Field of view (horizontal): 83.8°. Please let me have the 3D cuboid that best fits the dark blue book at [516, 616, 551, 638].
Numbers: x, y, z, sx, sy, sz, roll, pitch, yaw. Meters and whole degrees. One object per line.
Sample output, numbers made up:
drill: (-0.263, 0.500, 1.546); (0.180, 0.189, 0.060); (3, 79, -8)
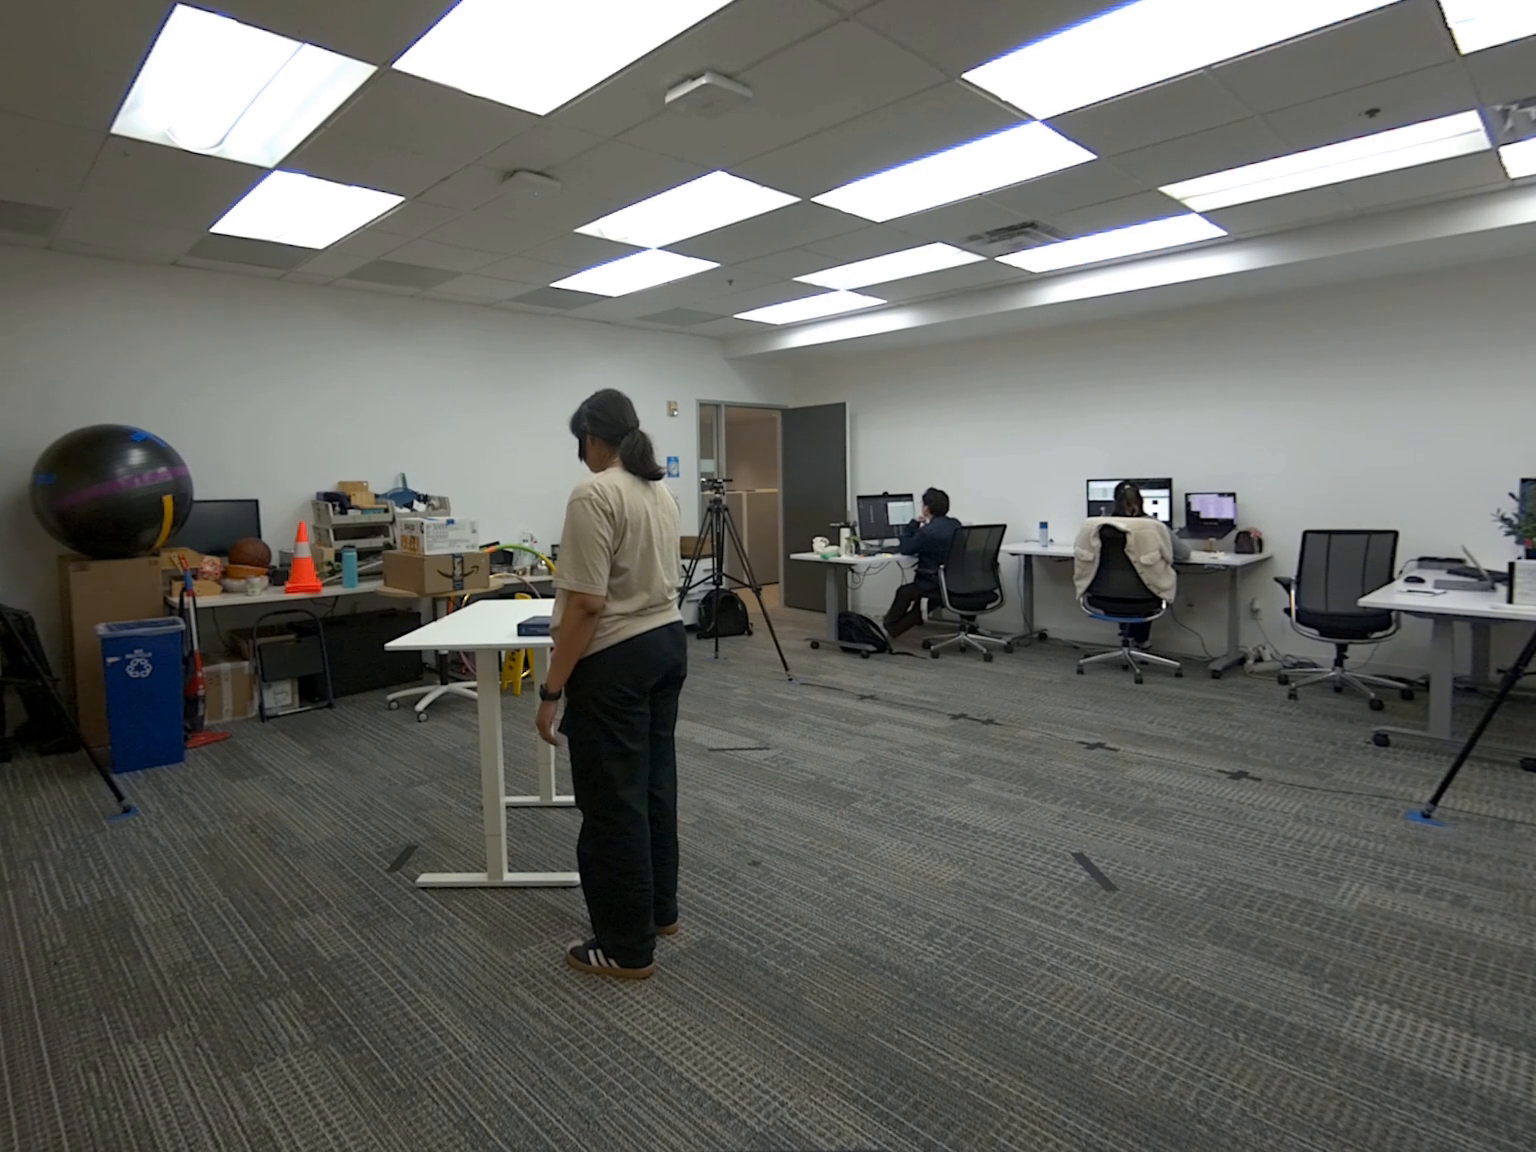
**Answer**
dark blue book: (-0.720, 0.172, 2.960); (0.247, 0.045, 0.163); (-1, 6, 6)
